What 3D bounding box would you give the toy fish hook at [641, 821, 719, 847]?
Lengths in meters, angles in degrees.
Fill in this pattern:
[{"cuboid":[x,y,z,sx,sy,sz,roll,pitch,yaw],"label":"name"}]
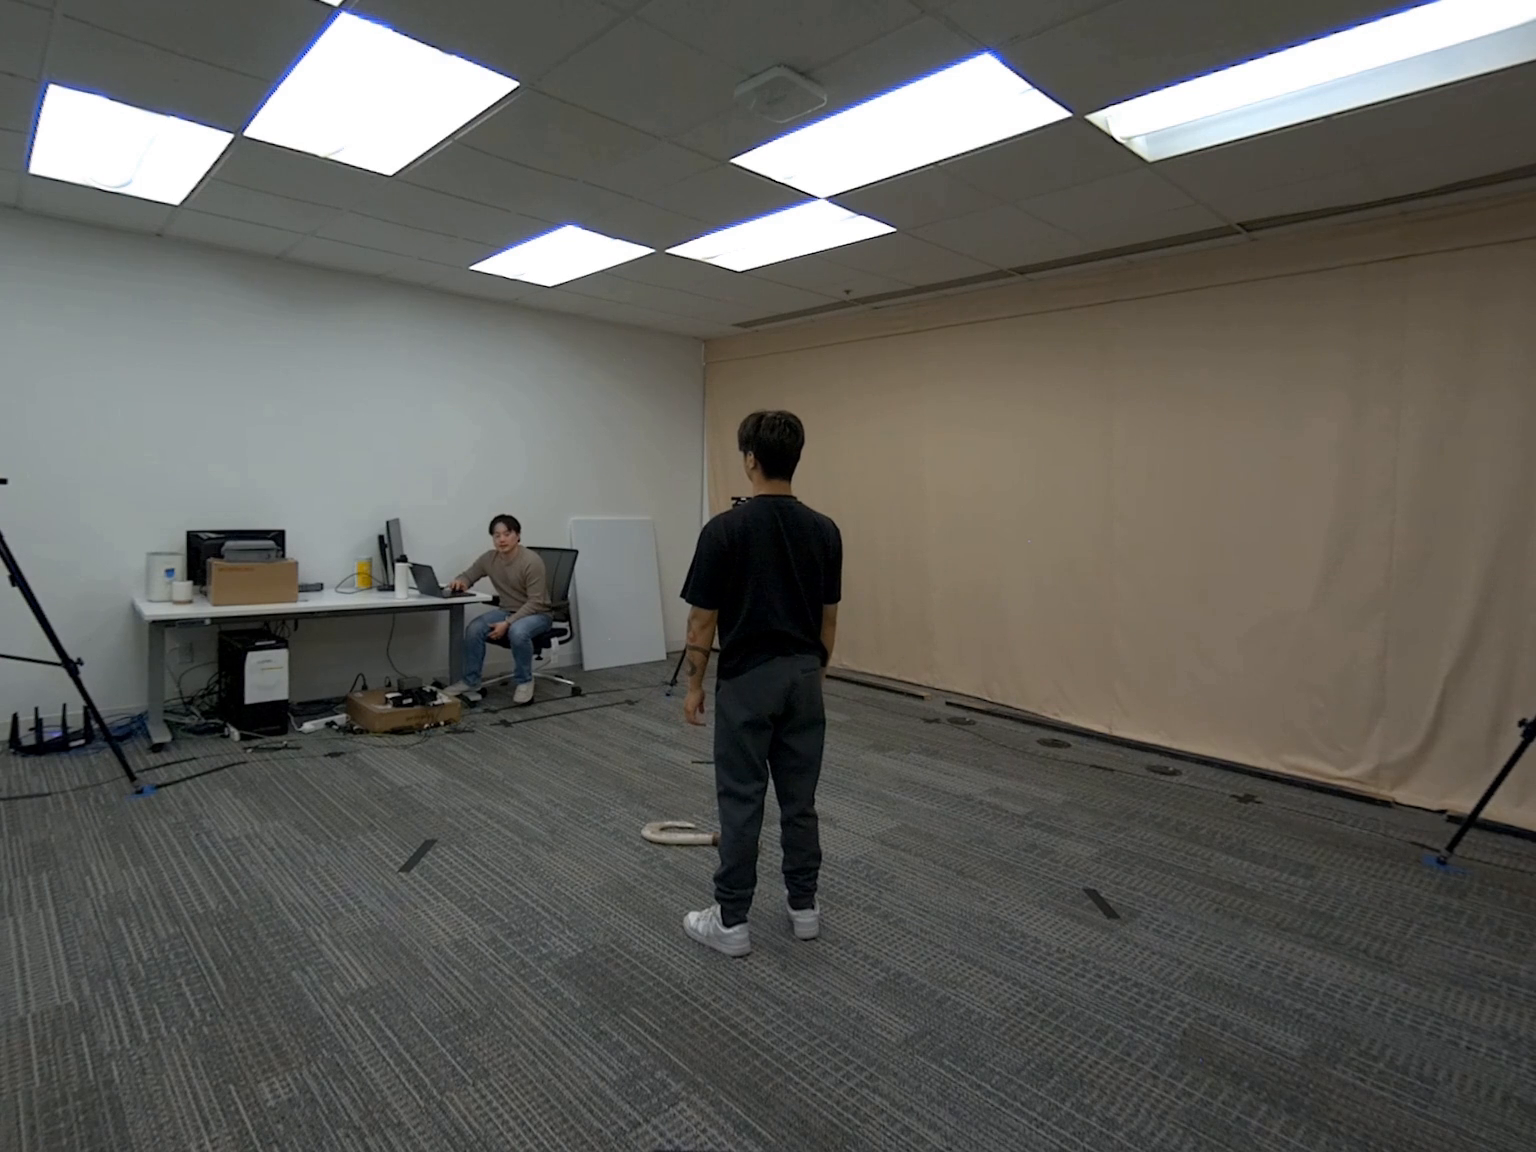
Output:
[{"cuboid":[-0.271,1.051,3.436,0.512,0.048,0.223,3,7,13],"label":"toy fish hook"}]
